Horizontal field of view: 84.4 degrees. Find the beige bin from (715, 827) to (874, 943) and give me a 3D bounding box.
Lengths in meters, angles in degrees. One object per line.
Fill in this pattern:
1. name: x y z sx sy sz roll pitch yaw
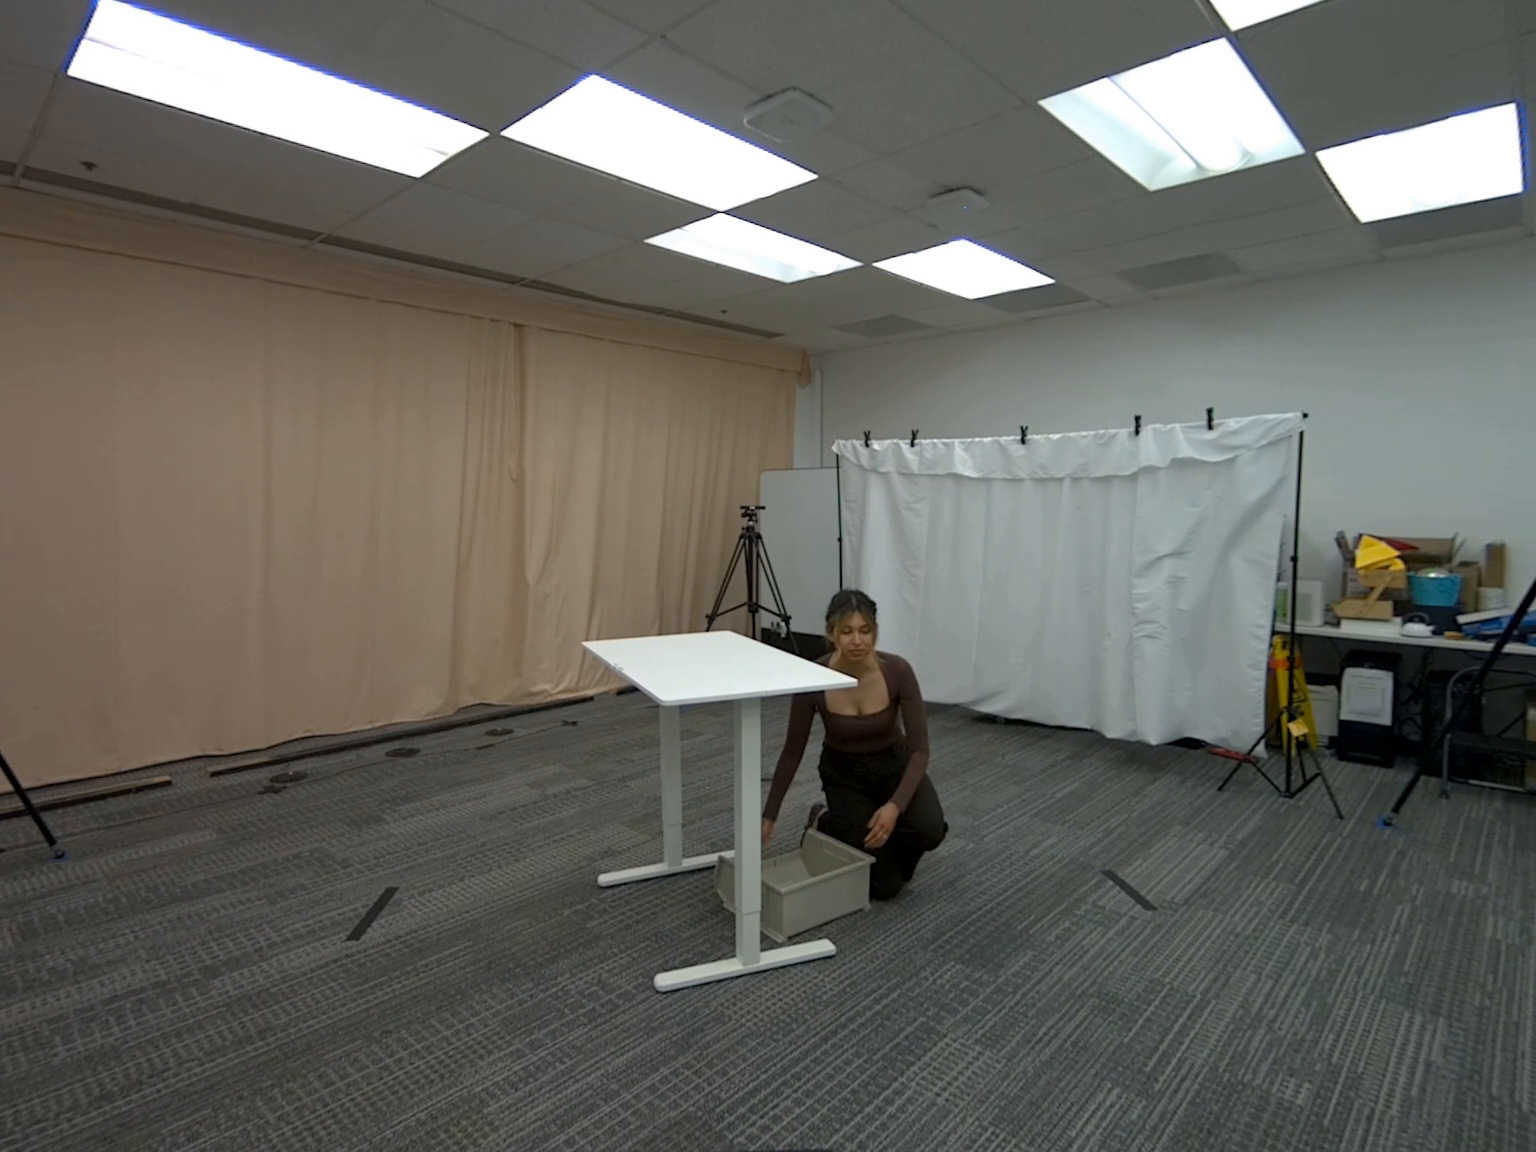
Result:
1. beige bin: 0.091 1.065 2.934 0.410 0.188 0.390 -2 6 -38
